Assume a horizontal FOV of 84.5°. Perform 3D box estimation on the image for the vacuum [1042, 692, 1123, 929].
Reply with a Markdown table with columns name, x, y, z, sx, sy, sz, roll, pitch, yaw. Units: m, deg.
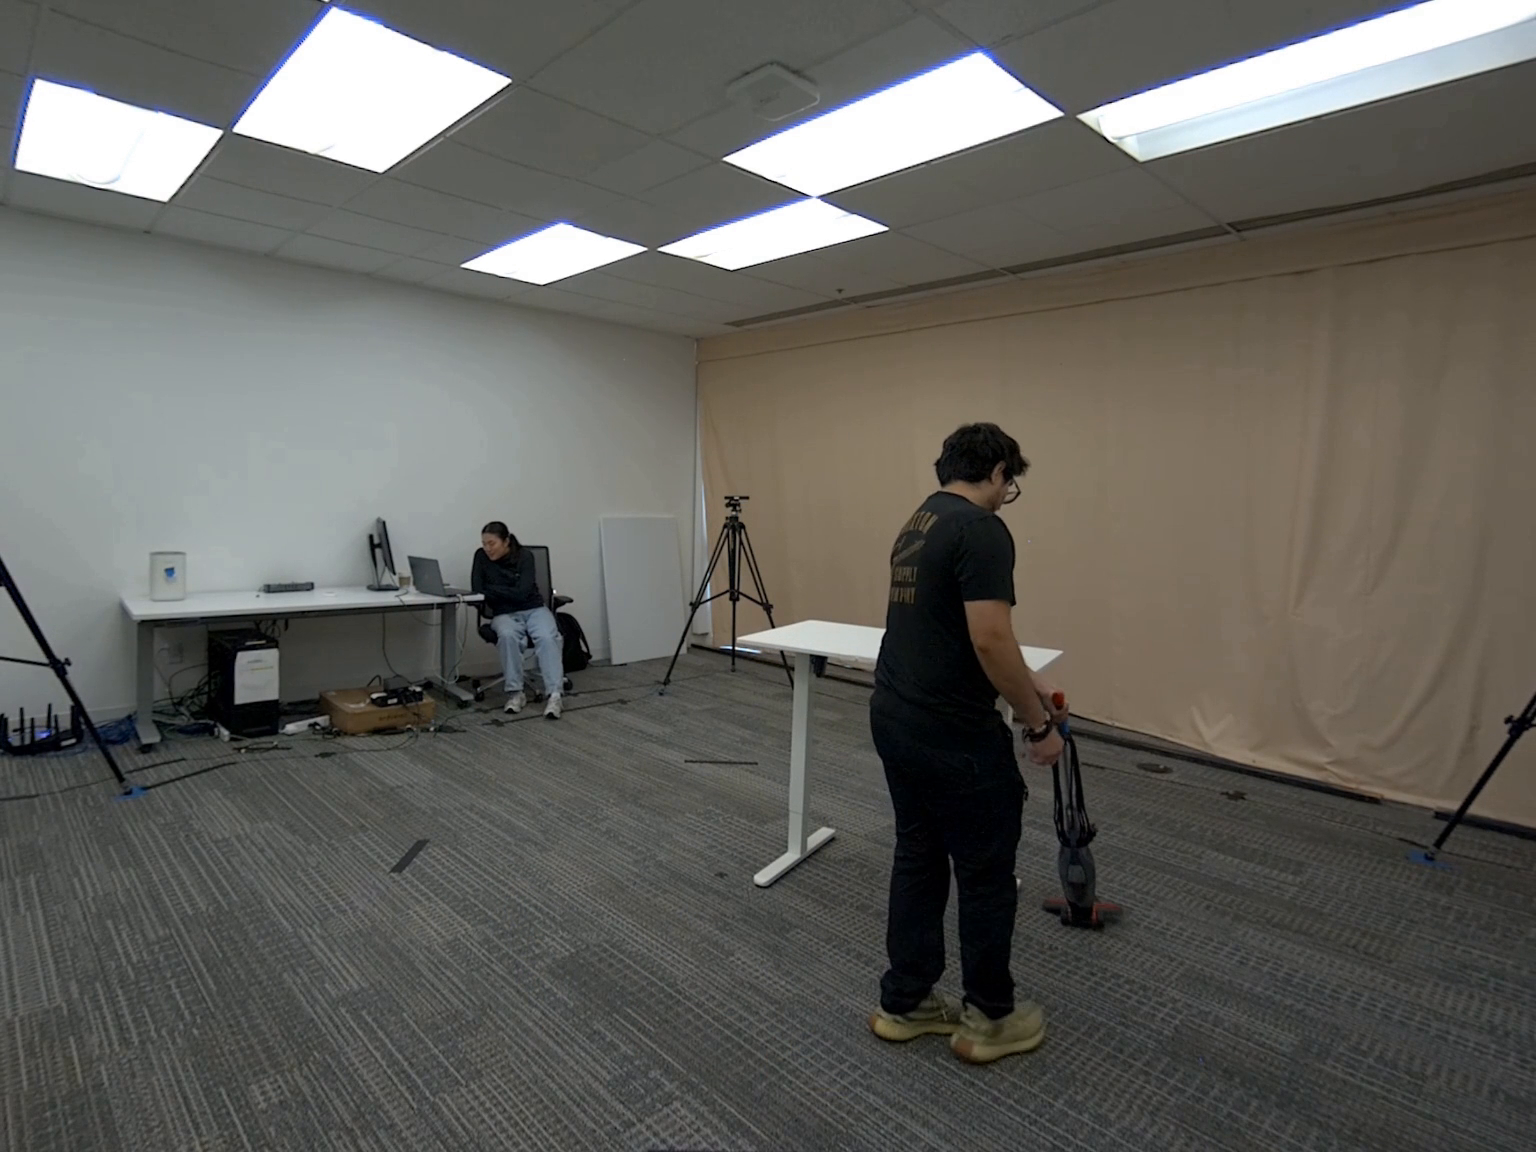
| name | x | y | z | sx | sy | sz | roll | pitch | yaw |
| --- | --- | --- | --- | --- | --- | --- | --- | --- | --- |
| vacuum | 0.918 | 0.739 | 2.560 | 0.257 | 1.022 | 0.145 | -1 | 38 | 25 |
